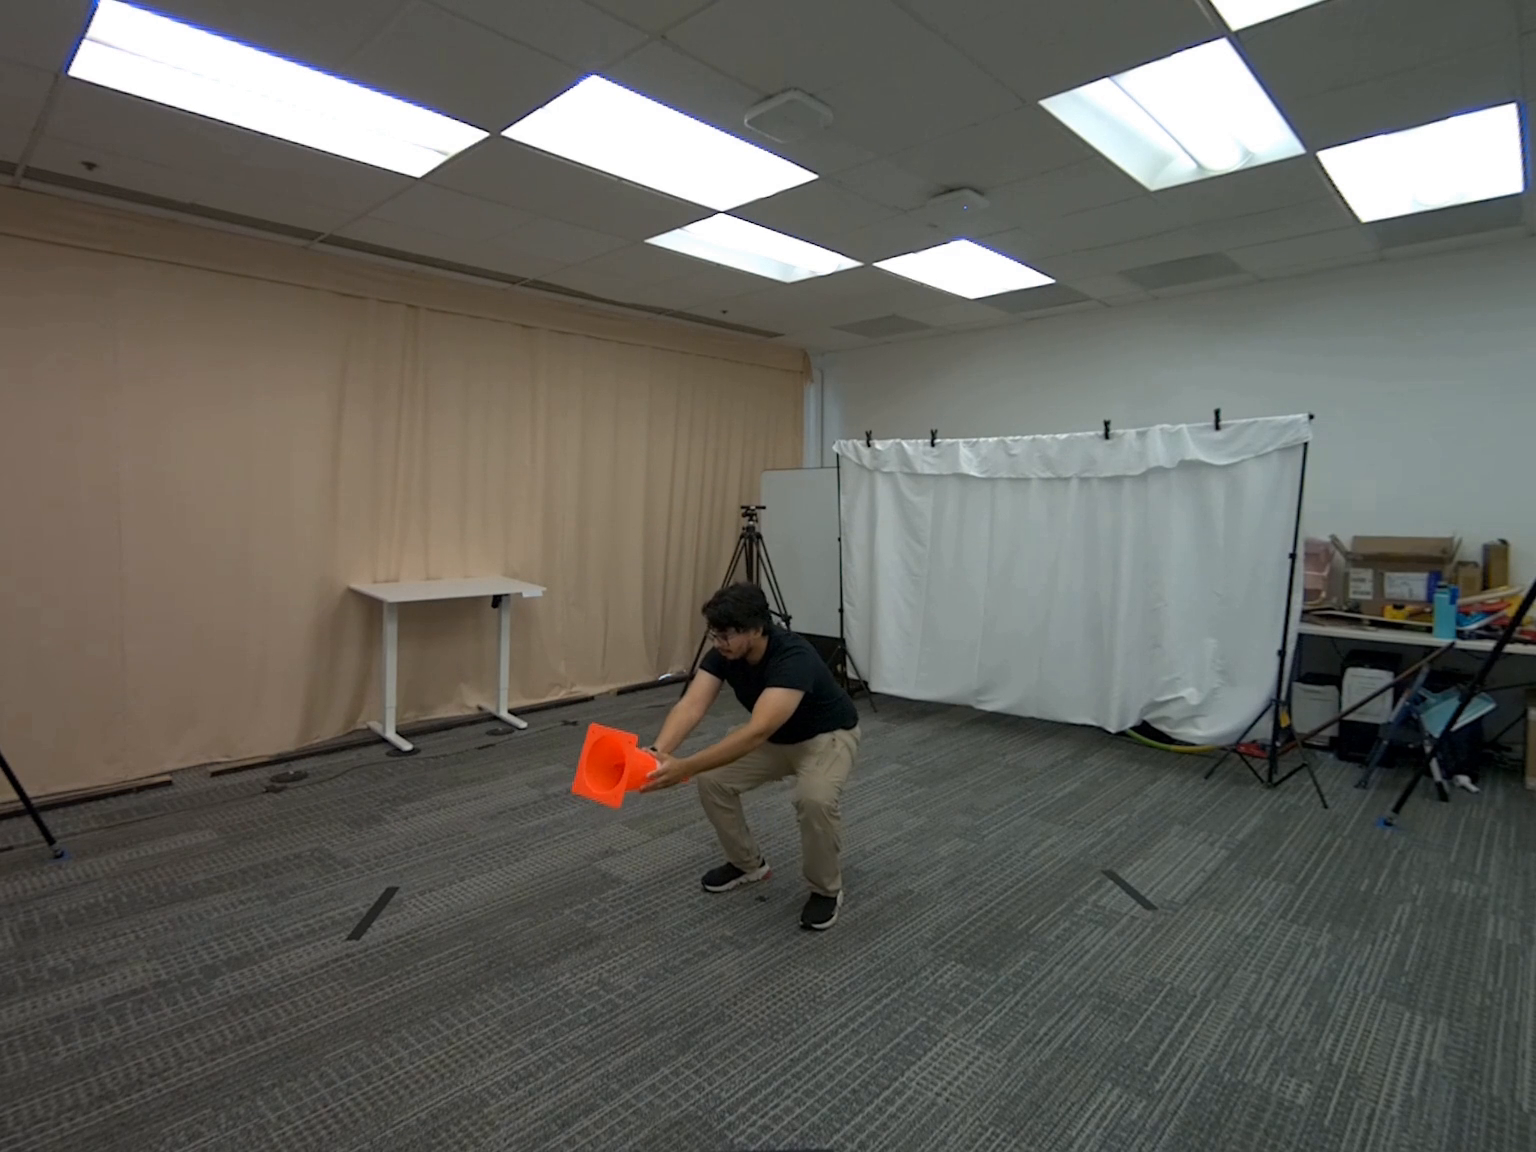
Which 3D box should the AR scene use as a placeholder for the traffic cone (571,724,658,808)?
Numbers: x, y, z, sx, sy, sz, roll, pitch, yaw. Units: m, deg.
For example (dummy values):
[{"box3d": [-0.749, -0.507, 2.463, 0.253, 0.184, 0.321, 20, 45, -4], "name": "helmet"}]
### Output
[{"box3d": [-0.352, 0.574, 2.487, 0.211, 0.204, 0.370, 3, -13, 37], "name": "traffic cone"}]
